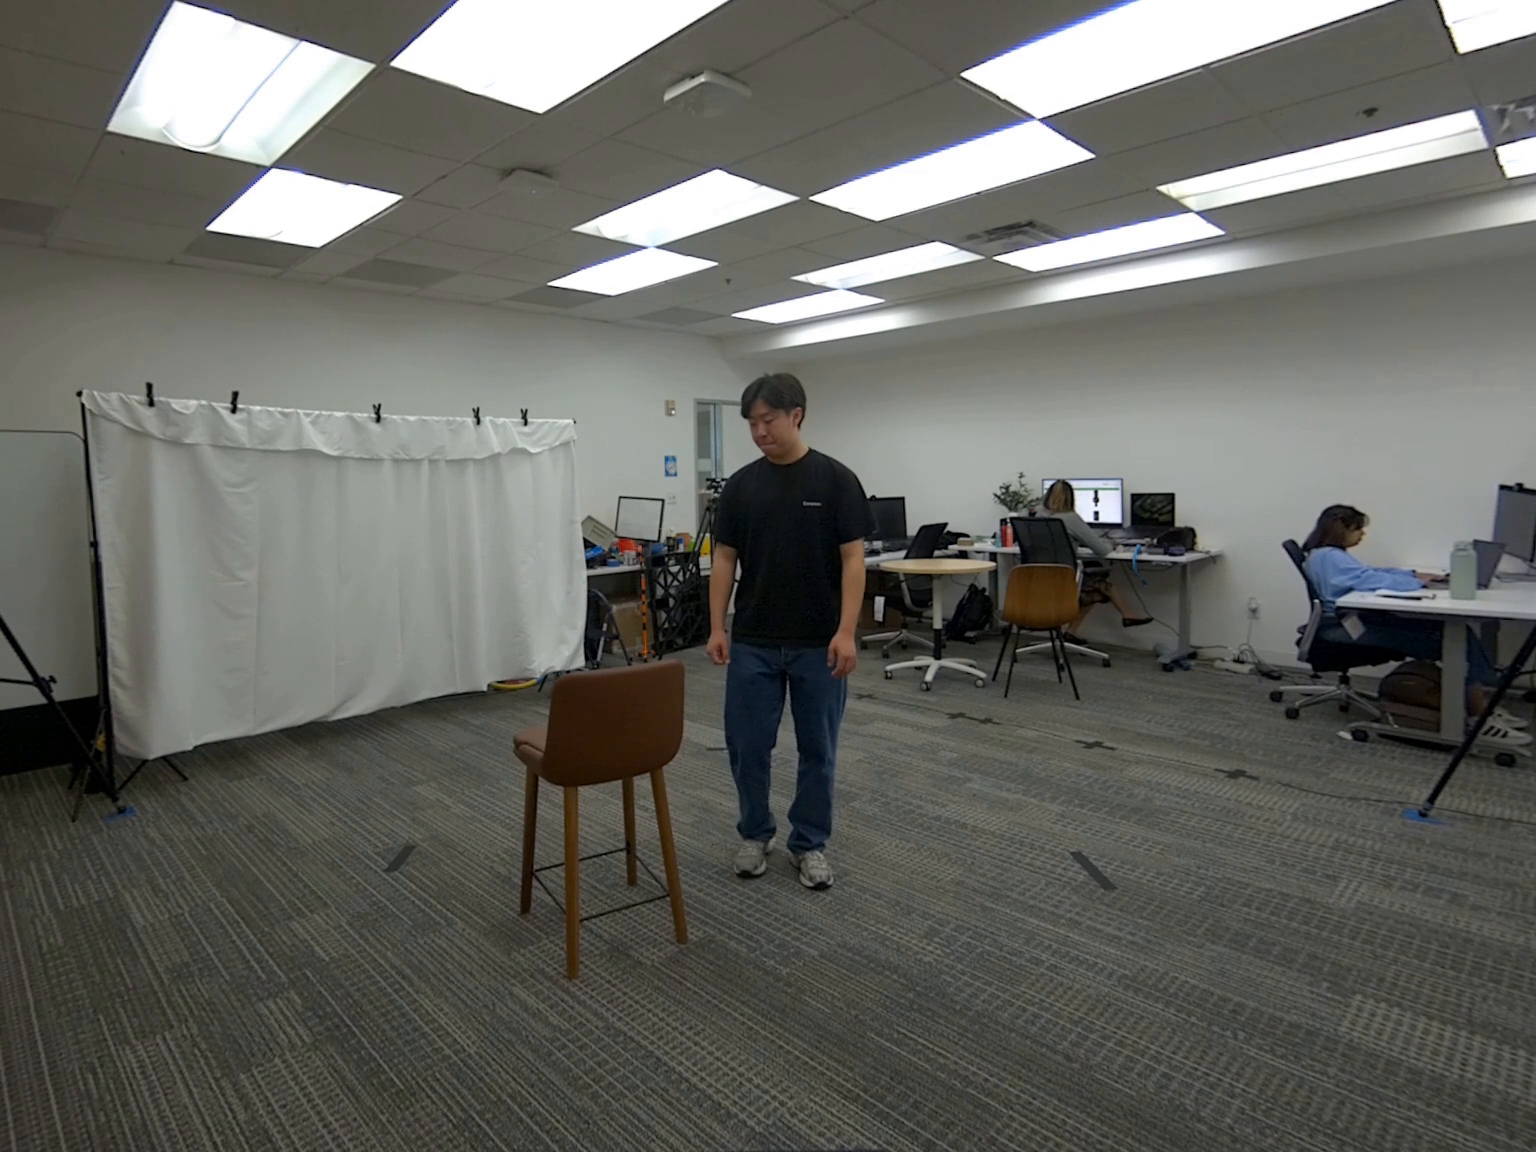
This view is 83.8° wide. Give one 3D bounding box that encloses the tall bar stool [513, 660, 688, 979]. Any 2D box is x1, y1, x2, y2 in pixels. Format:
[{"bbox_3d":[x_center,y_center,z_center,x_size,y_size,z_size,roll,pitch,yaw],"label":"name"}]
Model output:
[{"bbox_3d":[-0.522,0.670,2.652,0.446,0.885,0.481,-4,7,-30],"label":"tall bar stool"}]
